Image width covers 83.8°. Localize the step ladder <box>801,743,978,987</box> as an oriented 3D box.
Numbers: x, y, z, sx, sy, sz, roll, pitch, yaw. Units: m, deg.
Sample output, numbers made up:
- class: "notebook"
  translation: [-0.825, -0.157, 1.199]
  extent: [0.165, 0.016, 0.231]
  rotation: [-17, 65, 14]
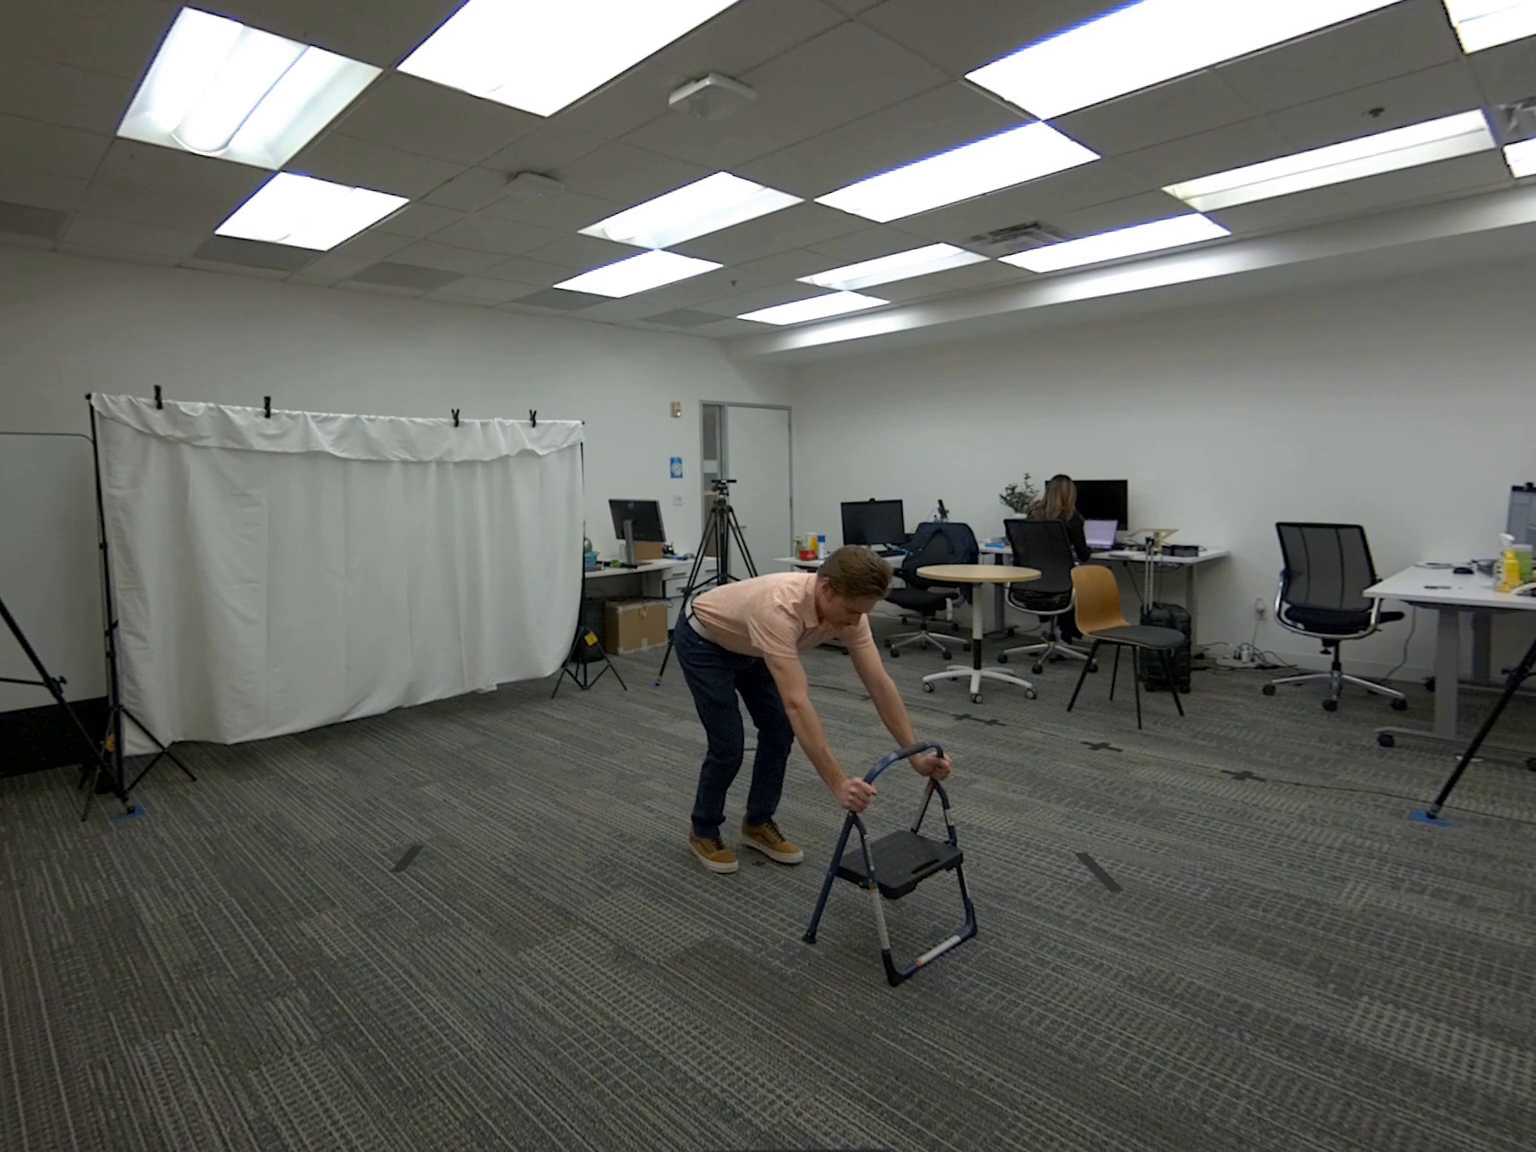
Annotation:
- class: "step ladder"
  translation: [0.375, 0.800, 2.582]
  extent: [0.419, 0.604, 0.360]
  rotation: [-5, 6, -43]
